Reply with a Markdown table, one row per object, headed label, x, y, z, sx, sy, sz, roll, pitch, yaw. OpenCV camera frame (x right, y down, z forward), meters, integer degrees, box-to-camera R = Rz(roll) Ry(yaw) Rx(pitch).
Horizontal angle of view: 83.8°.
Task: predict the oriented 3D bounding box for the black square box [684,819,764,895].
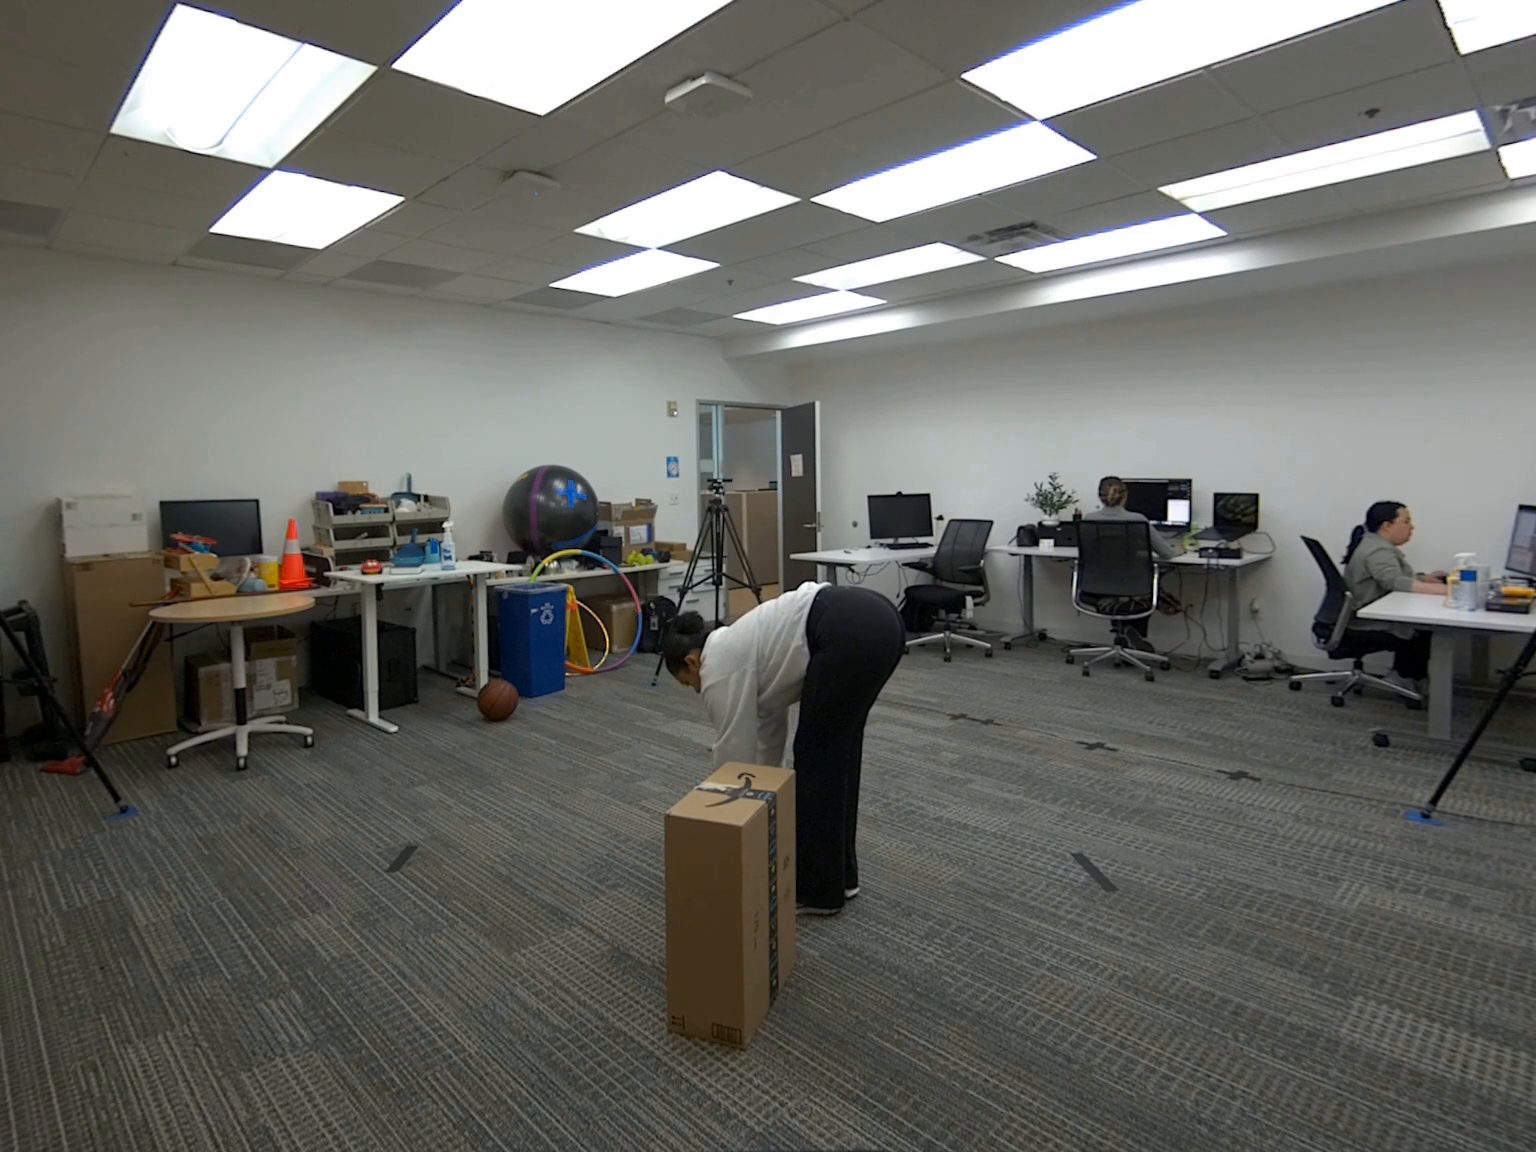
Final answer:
| label | x | y | z | sx | sy | sz | roll | pitch | yaw |
| --- | --- | --- | --- | --- | --- | --- | --- | --- | --- |
| black square box | -0.153 | 0.977 | 2.999 | 0.231 | 0.155 | 0.215 | 0 | 5 | 13 |
